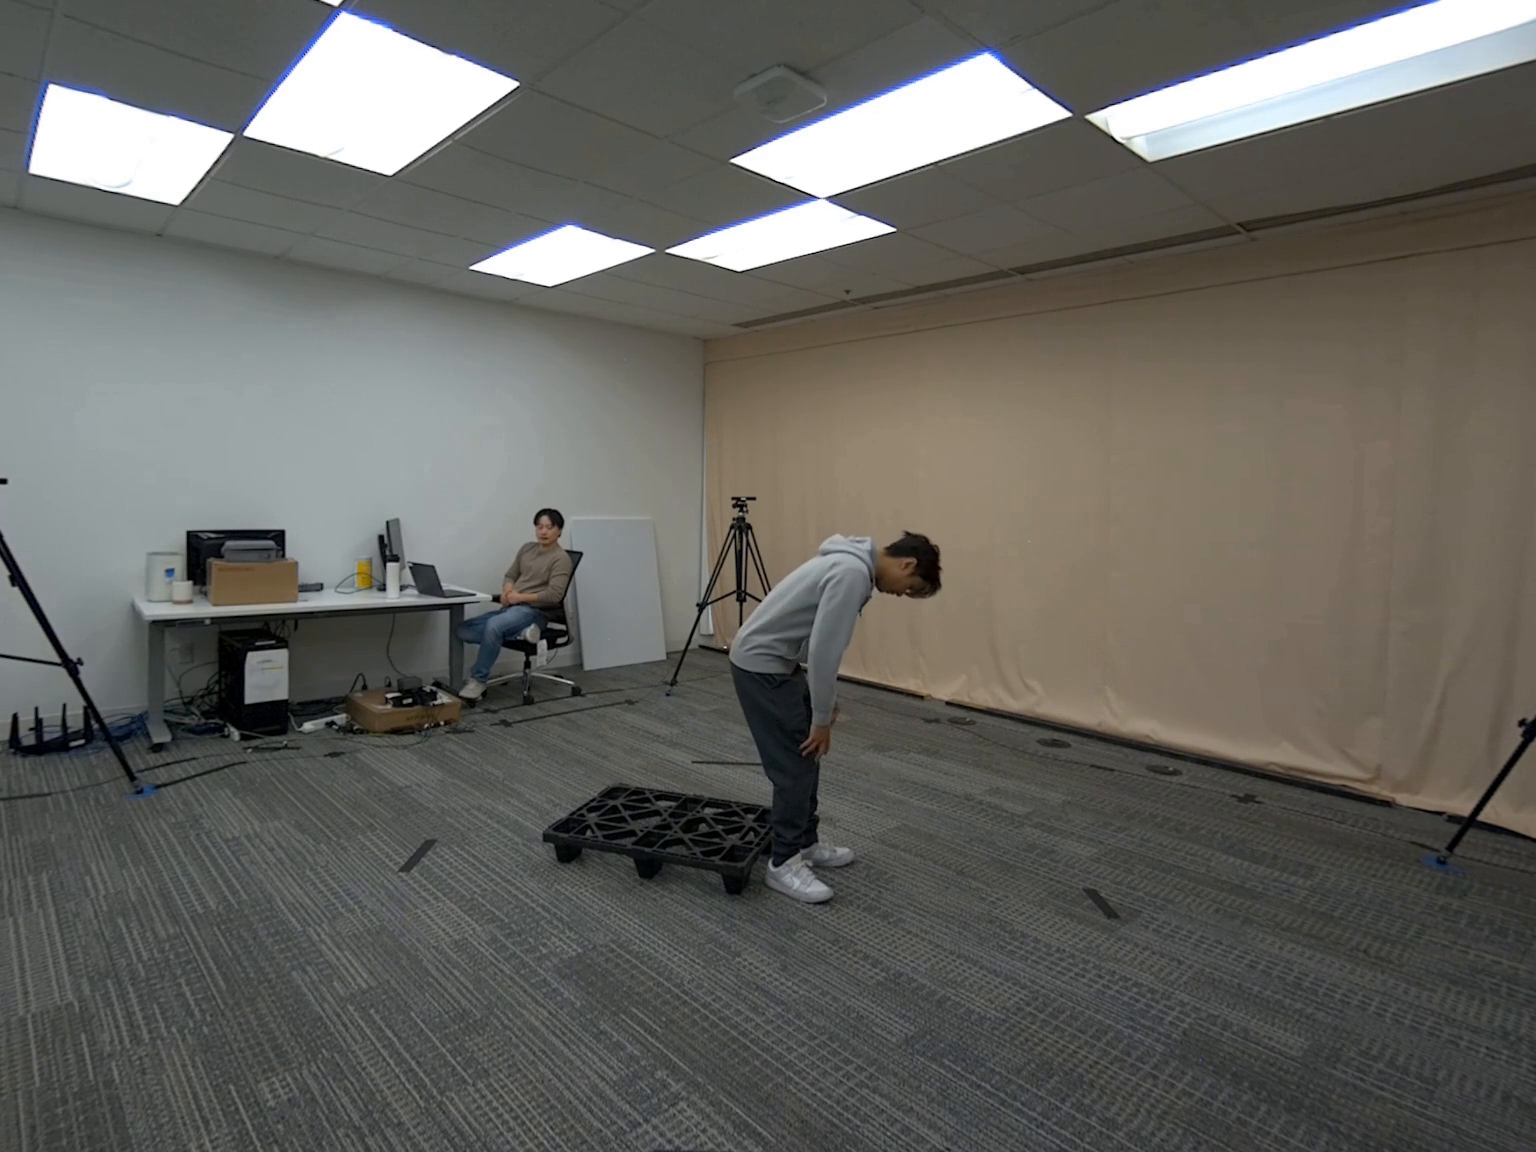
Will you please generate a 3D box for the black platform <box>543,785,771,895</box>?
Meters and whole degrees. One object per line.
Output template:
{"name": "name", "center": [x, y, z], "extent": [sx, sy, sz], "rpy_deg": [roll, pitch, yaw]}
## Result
{"name": "black platform", "center": [-0.383, 1.019, 3.283], "extent": [0.818, 0.143, 0.598], "rpy_deg": [3, 6, 18]}
